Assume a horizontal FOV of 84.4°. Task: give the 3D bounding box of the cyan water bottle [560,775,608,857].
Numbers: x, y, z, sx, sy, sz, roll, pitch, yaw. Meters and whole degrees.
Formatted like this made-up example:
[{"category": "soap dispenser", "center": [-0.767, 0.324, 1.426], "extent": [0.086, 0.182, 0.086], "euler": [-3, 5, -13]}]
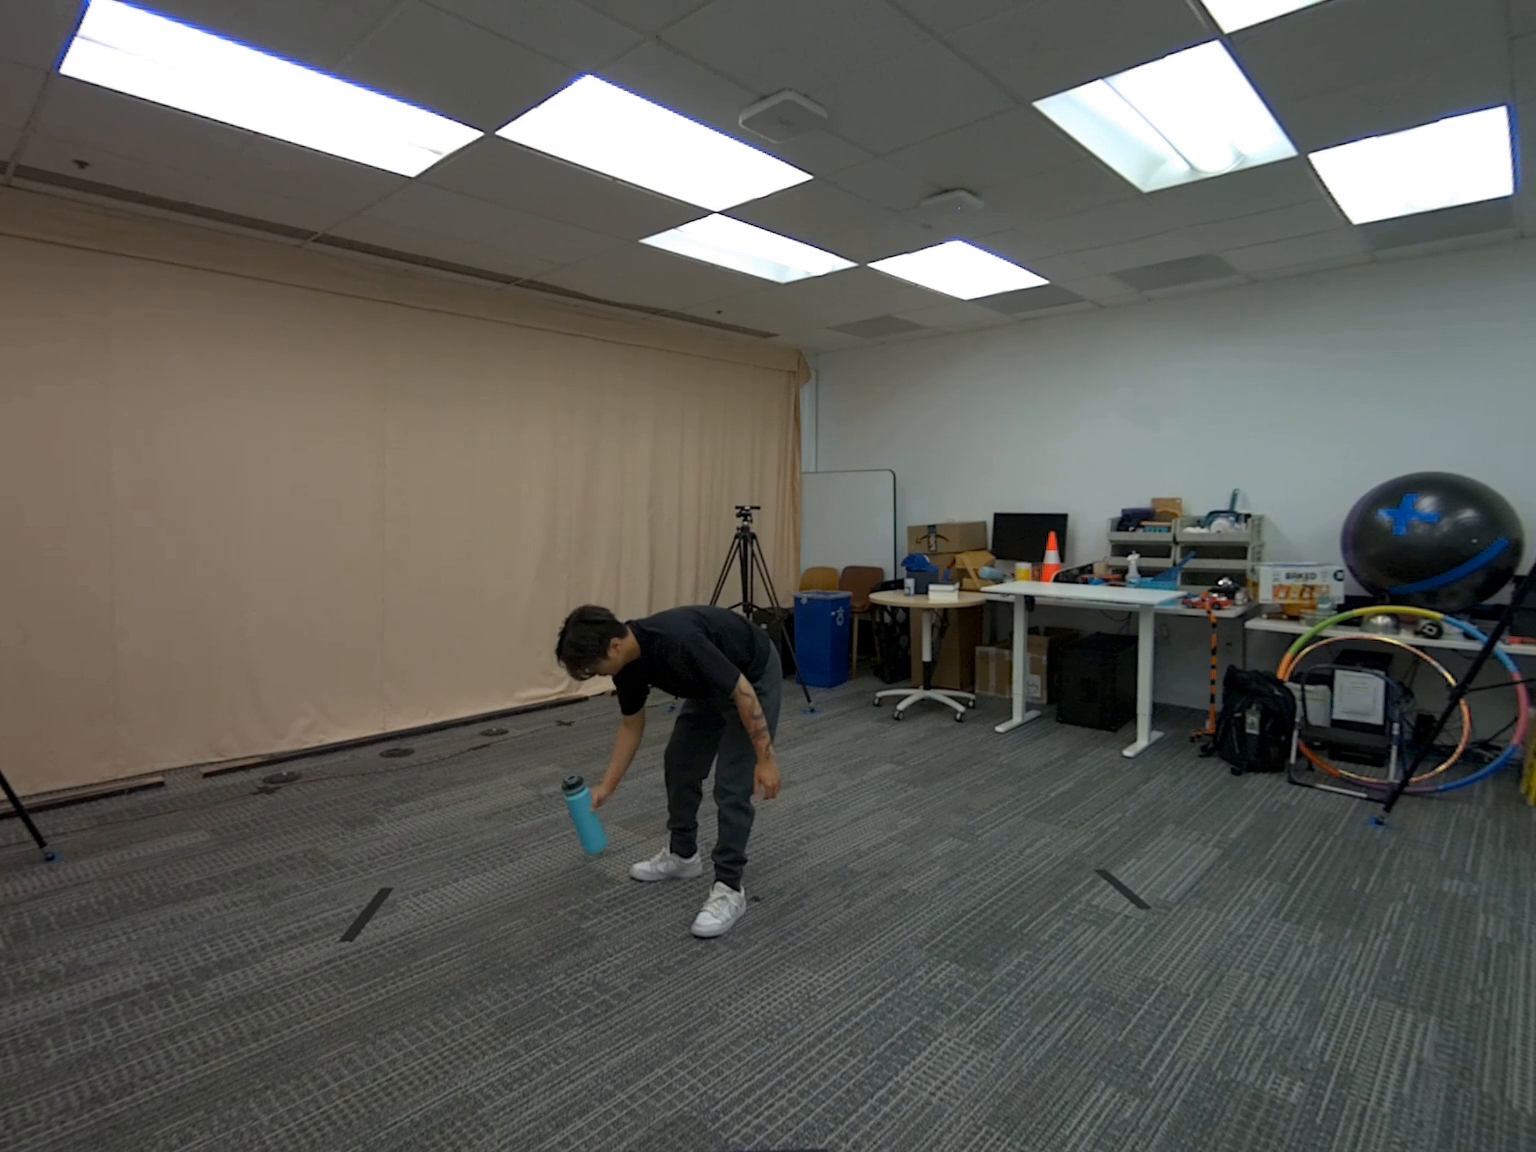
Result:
[{"category": "cyan water bottle", "center": [-0.647, 0.831, 2.948], "extent": [0.092, 0.281, 0.093], "euler": [-17, 8, 1]}]
